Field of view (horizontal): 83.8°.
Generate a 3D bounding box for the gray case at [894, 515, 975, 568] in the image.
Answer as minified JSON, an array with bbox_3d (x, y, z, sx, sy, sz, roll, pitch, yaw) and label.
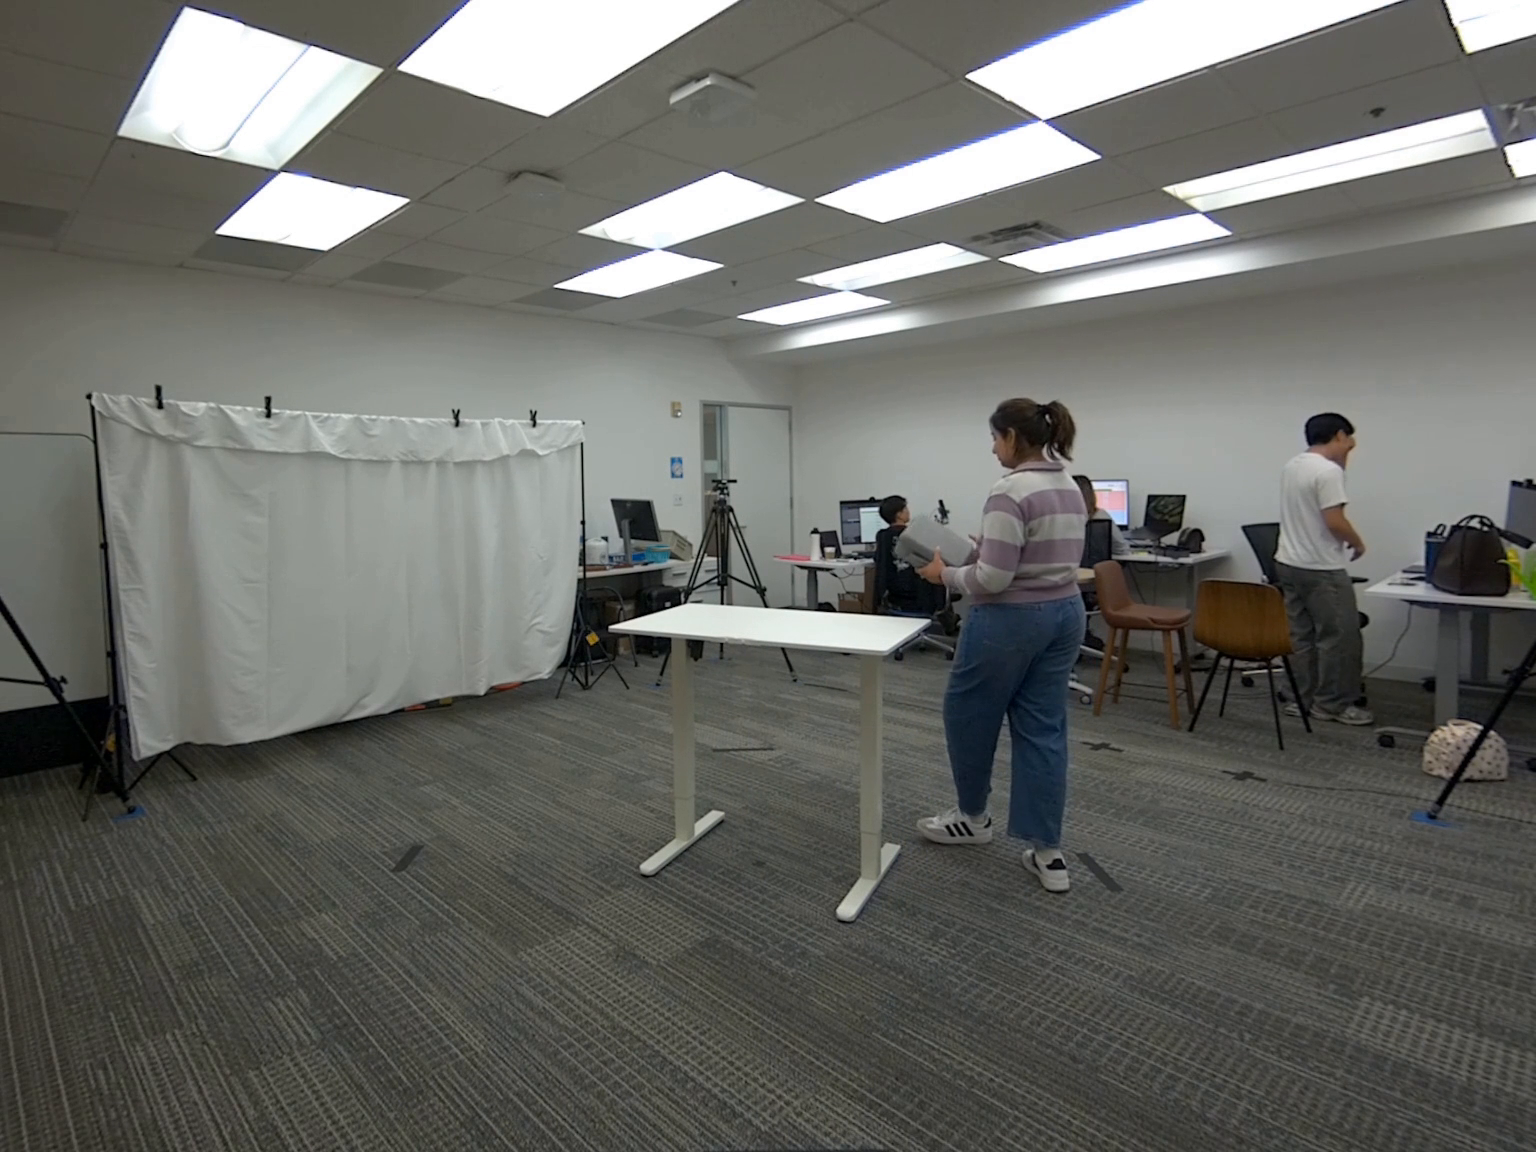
[{"bbox_3d":[0.636,-0.108,3.265,0.260,0.103,0.260,31,32,9],"label":"gray case"}]
